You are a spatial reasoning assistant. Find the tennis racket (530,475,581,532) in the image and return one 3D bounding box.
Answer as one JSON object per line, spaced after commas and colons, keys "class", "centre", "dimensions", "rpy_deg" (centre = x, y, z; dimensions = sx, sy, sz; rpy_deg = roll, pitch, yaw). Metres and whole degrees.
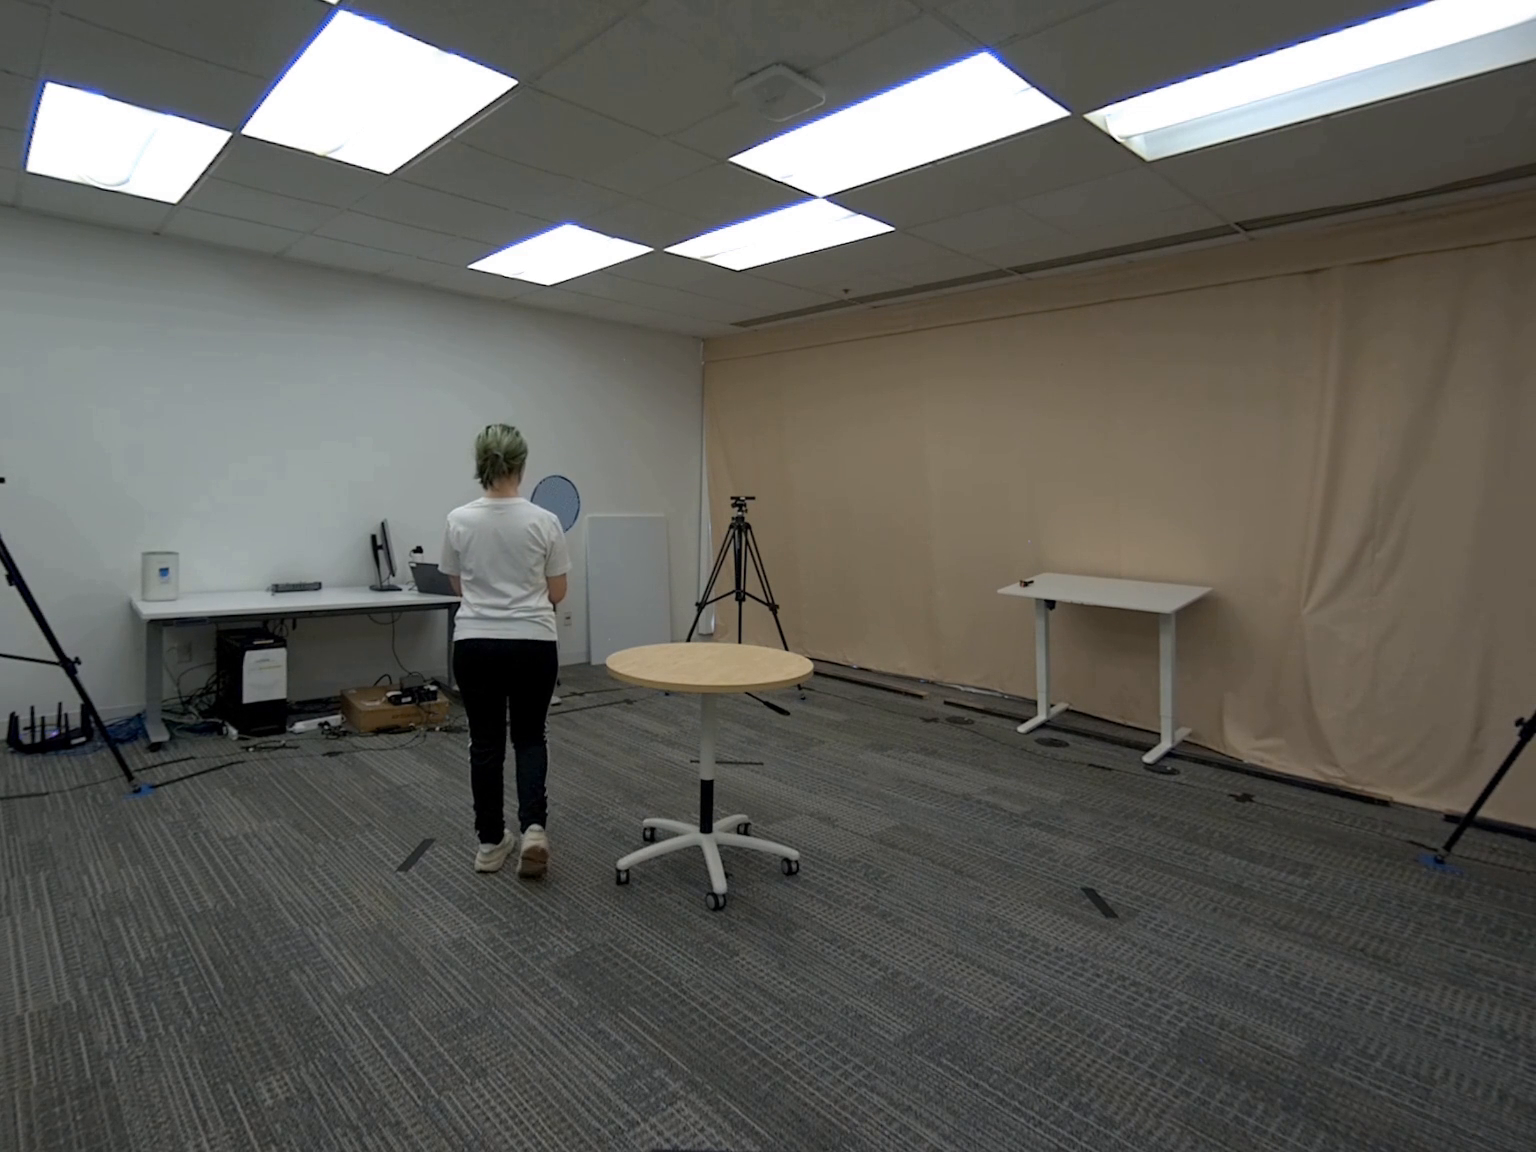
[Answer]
{"class": "tennis racket", "centre": [-0.904, -0.217, 3.463], "dimensions": [0.208, 0.438, 0.032], "rpy_deg": [21, -25, -28]}
